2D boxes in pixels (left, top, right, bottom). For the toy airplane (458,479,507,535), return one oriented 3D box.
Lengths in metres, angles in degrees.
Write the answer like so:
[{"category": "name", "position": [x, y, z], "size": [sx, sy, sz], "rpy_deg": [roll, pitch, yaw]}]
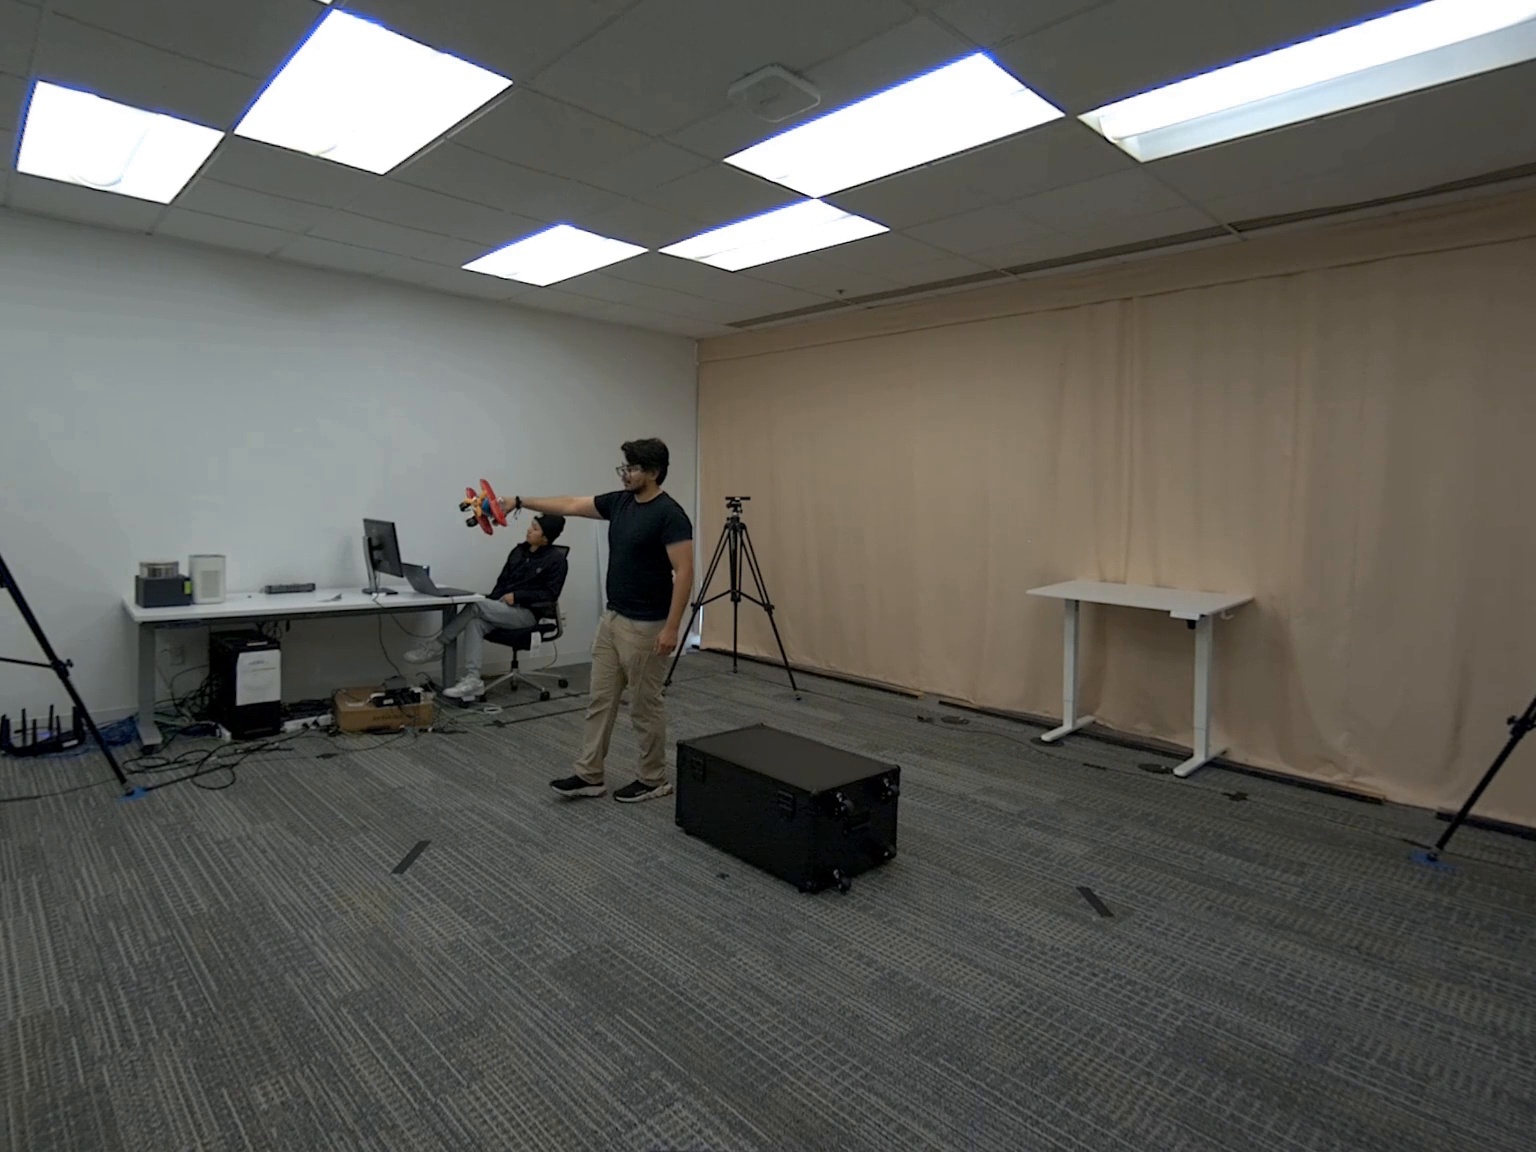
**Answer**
[{"category": "toy airplane", "position": [-1.321, -0.324, 3.903], "size": [0.157, 0.248, 0.260], "rpy_deg": [-30, 12, 22]}]
